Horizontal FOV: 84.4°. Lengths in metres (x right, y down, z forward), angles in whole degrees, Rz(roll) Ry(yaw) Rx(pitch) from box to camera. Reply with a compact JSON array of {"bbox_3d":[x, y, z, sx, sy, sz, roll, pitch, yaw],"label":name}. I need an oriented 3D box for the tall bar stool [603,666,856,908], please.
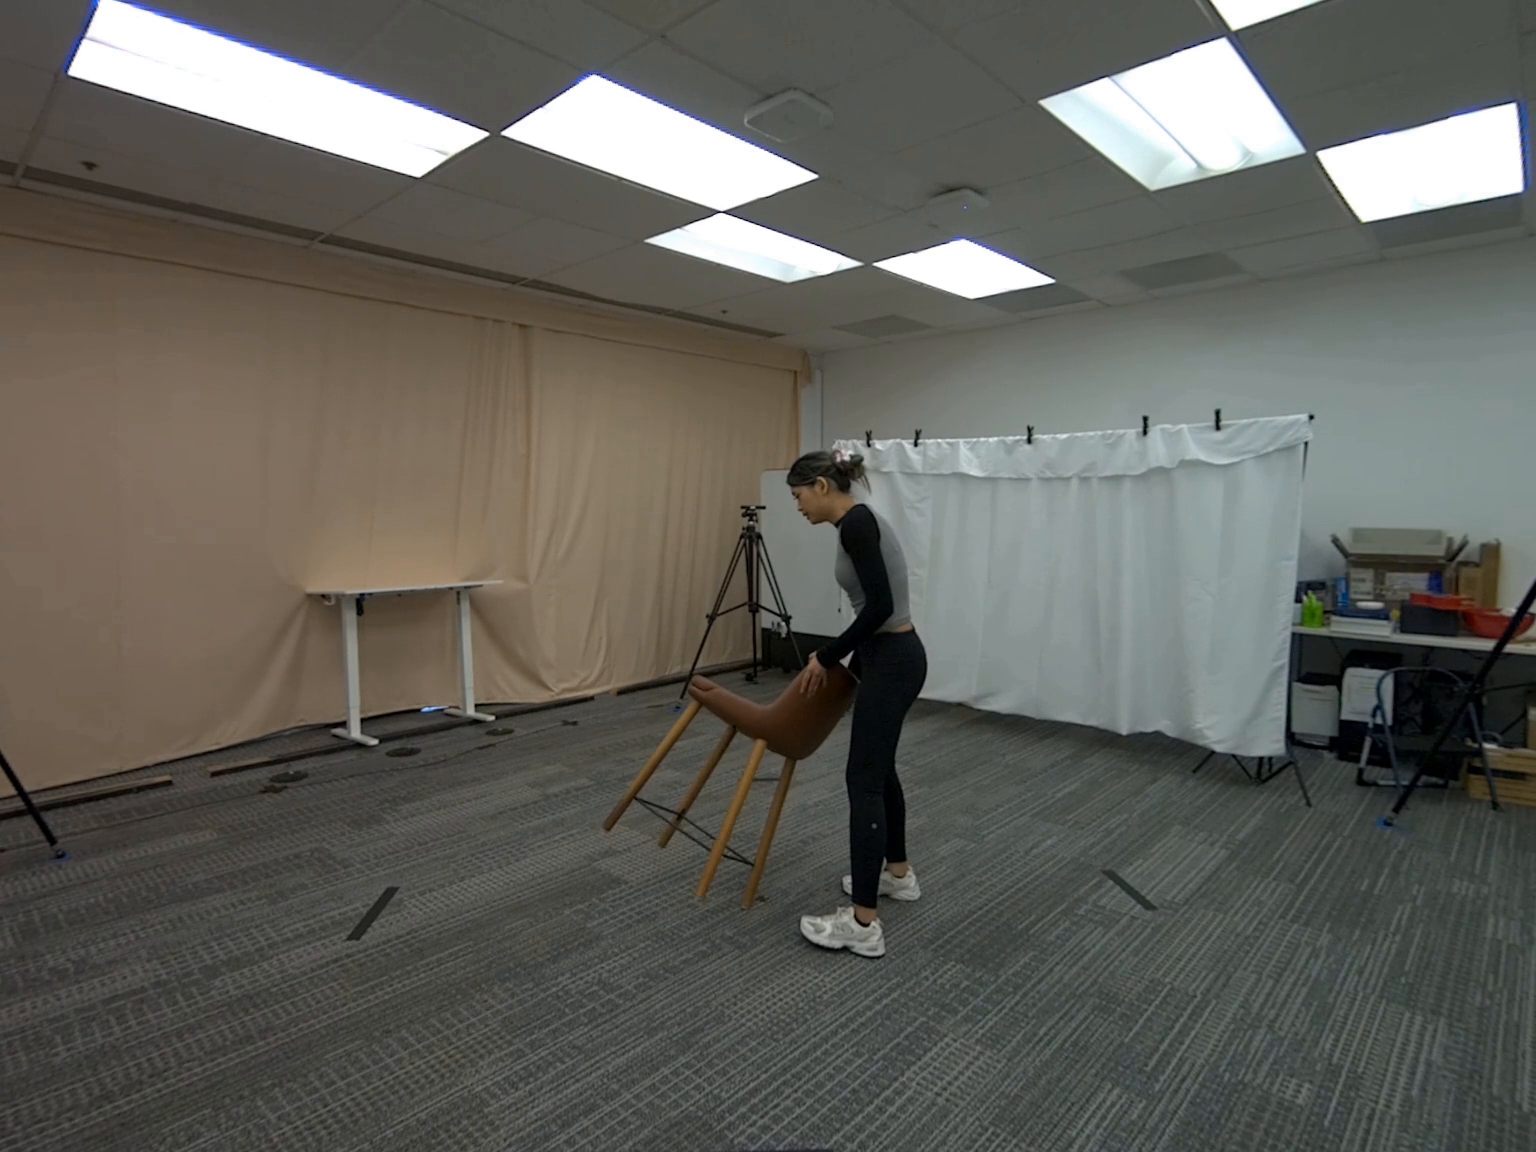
[{"bbox_3d":[-0.102,0.639,2.970,0.484,0.889,0.441,24,-11,35],"label":"tall bar stool"}]
